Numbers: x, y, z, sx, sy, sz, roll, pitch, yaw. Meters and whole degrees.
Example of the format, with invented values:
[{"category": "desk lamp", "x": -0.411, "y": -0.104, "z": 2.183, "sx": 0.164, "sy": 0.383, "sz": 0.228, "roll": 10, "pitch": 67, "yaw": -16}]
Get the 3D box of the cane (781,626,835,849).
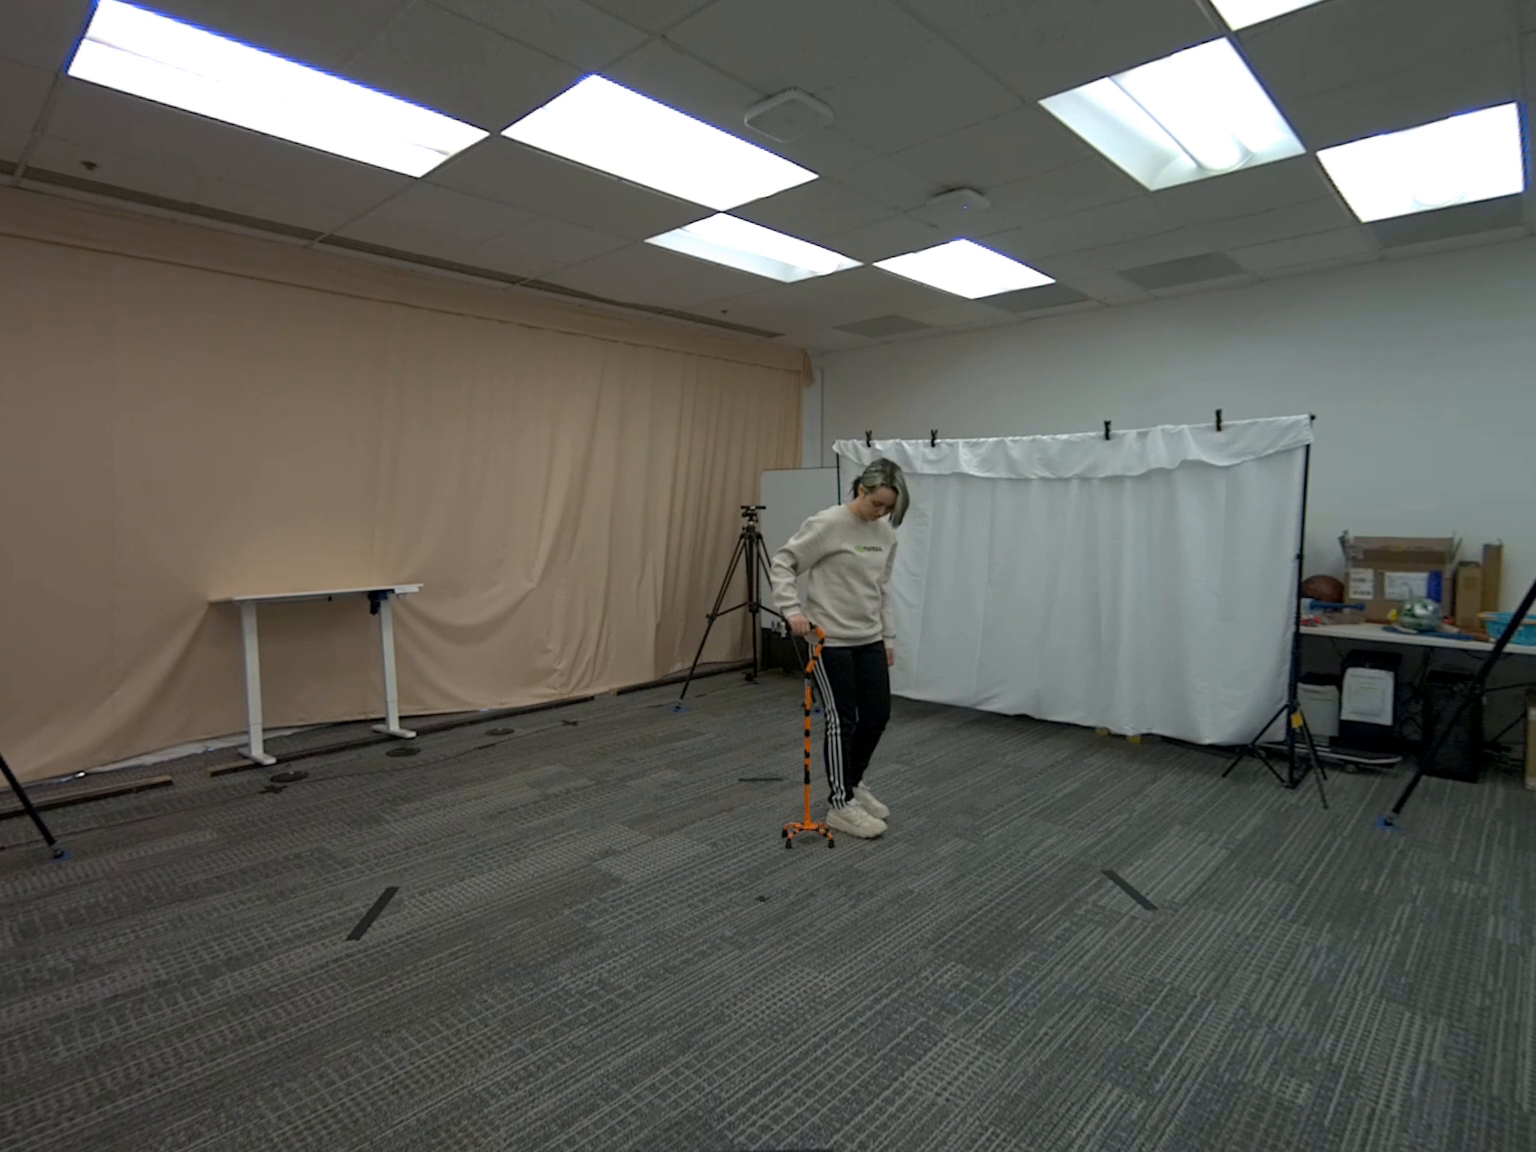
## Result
[{"category": "cane", "x": 0.163, "y": 0.650, "z": 3.460, "sx": 0.205, "sy": 0.906, "sz": 0.152, "roll": 0, "pitch": 3, "yaw": -5}]
